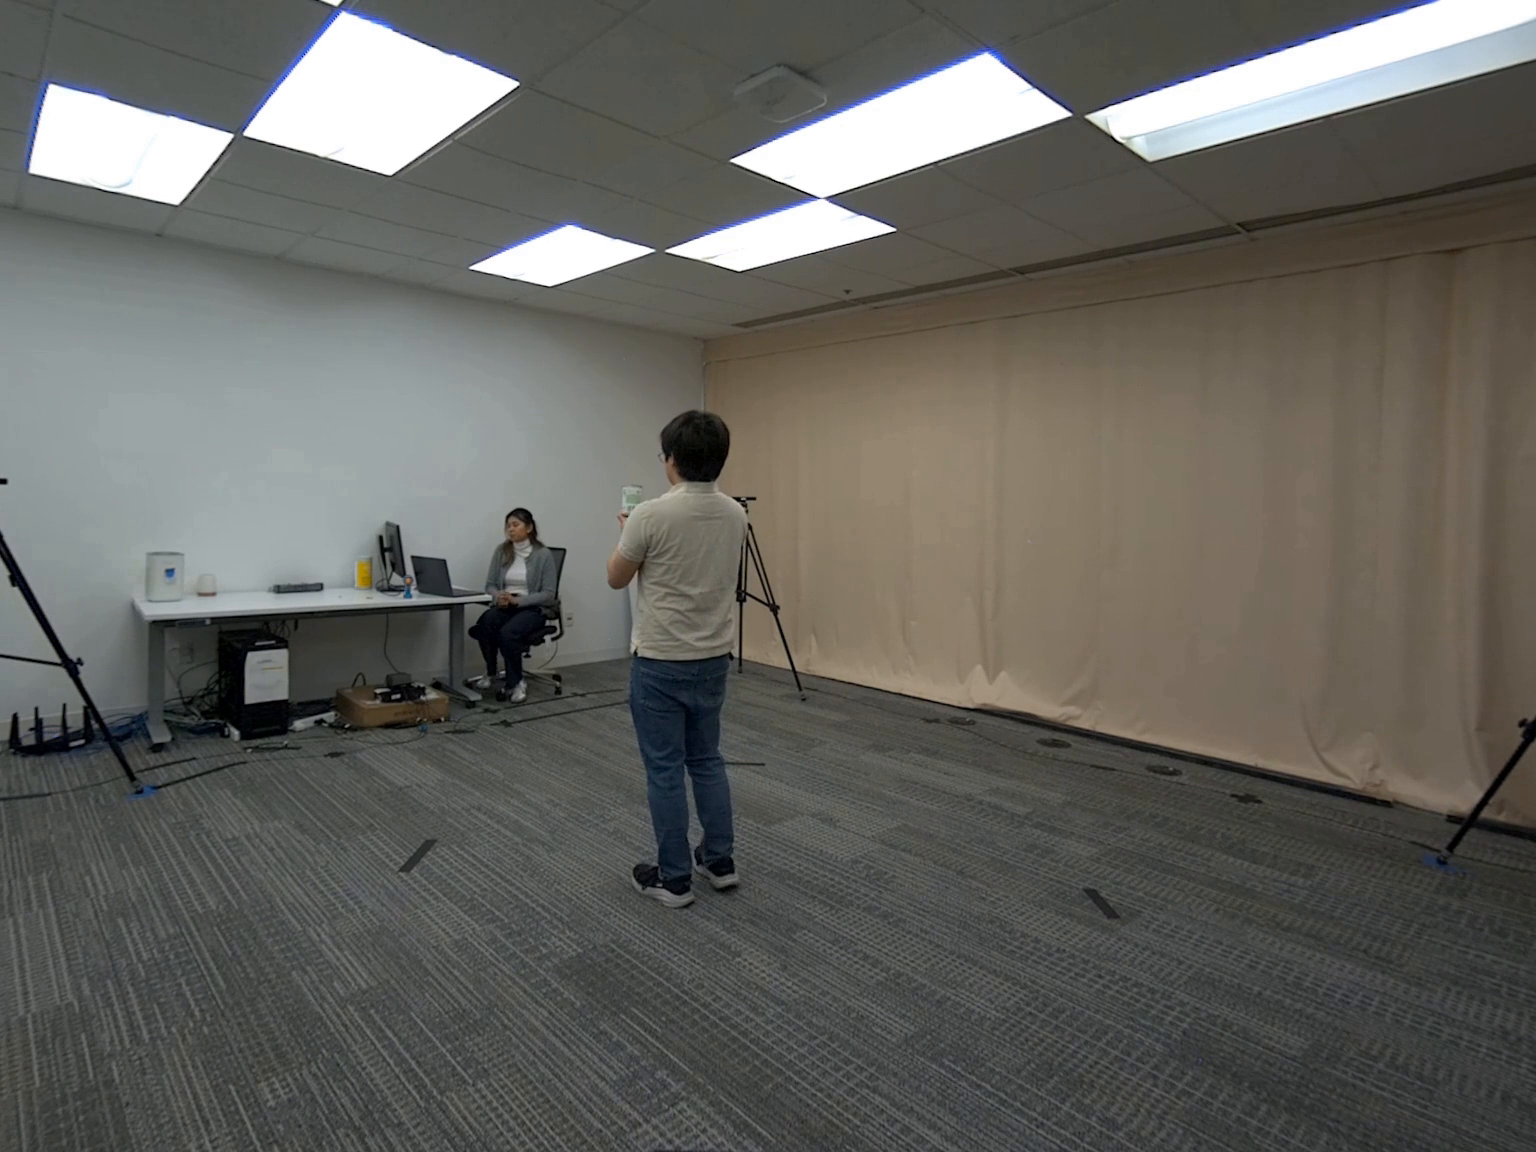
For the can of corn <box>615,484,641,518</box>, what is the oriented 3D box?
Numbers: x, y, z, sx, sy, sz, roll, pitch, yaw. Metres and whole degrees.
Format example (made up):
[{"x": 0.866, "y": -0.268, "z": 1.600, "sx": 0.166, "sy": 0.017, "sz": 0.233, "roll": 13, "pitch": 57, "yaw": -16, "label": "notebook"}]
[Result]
[{"x": -0.520, "y": -0.276, "z": 3.131, "sx": 0.074, "sy": 0.111, "sz": 0.074, "roll": 5, "pitch": -4, "yaw": -1, "label": "can of corn"}]
